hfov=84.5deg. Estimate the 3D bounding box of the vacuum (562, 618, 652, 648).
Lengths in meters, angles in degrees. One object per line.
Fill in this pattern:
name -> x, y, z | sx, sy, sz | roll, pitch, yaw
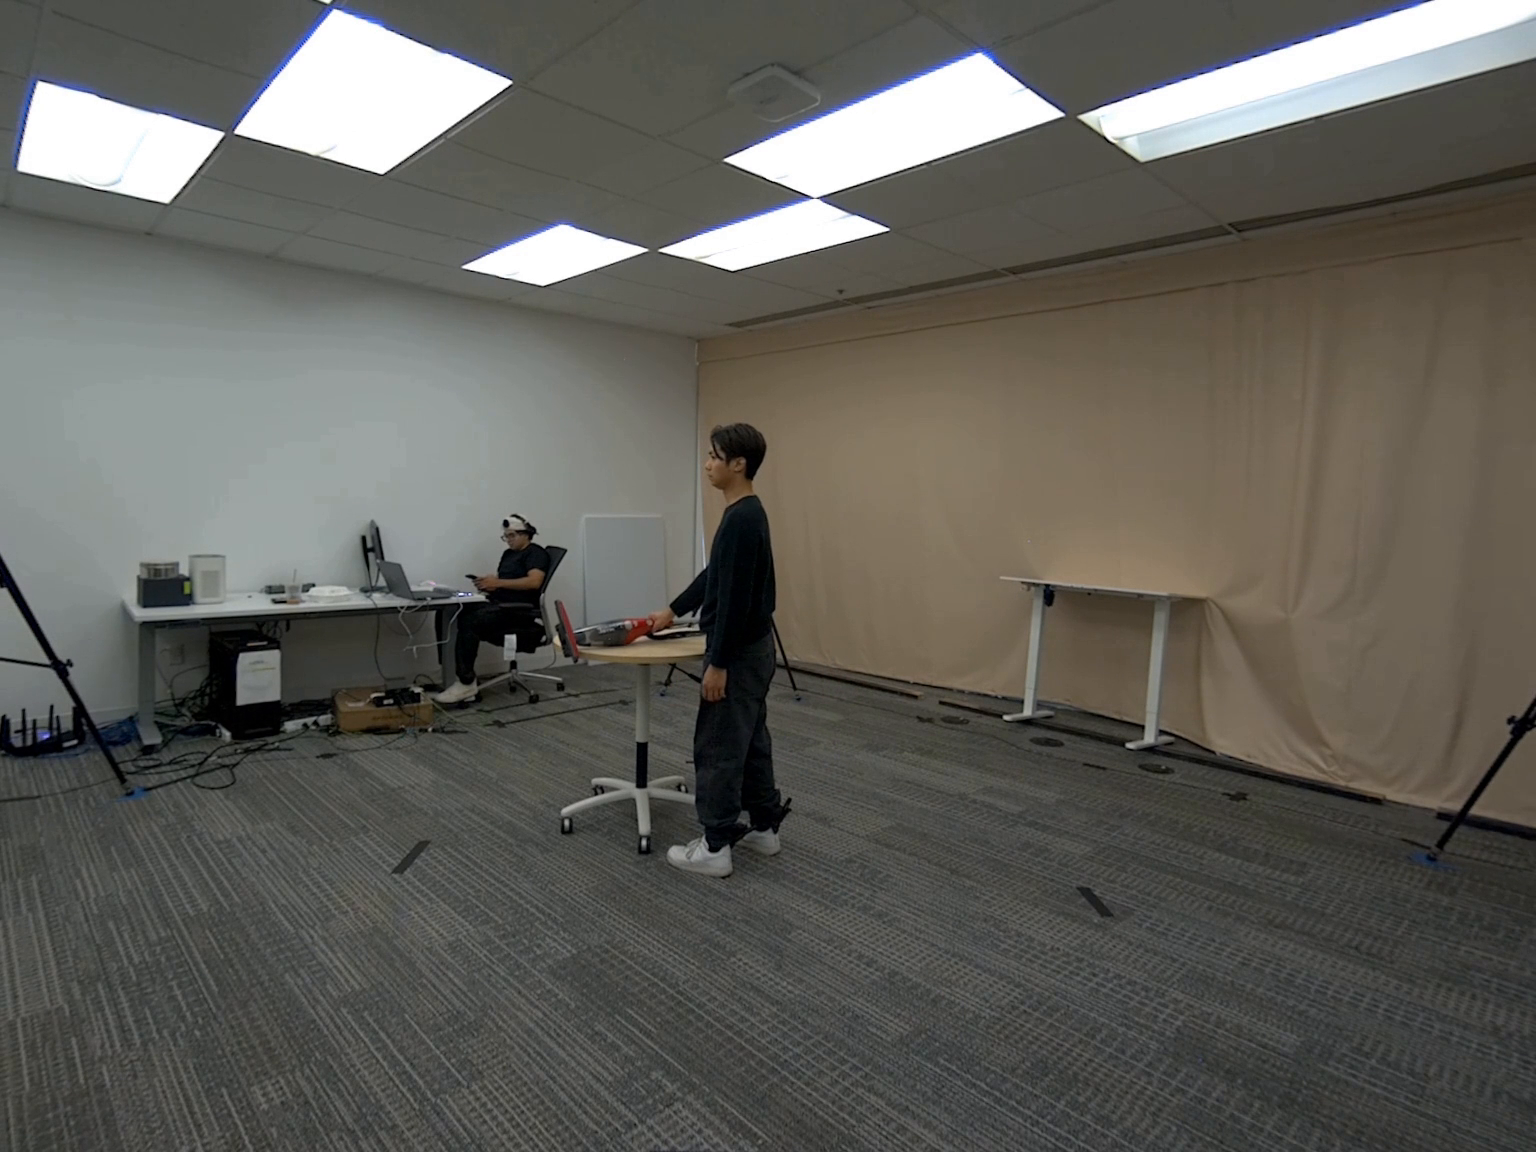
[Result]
vacuum -> -0.426, 0.224, 3.603 | 1.024, 0.257, 0.144 | -1, -30, -46
